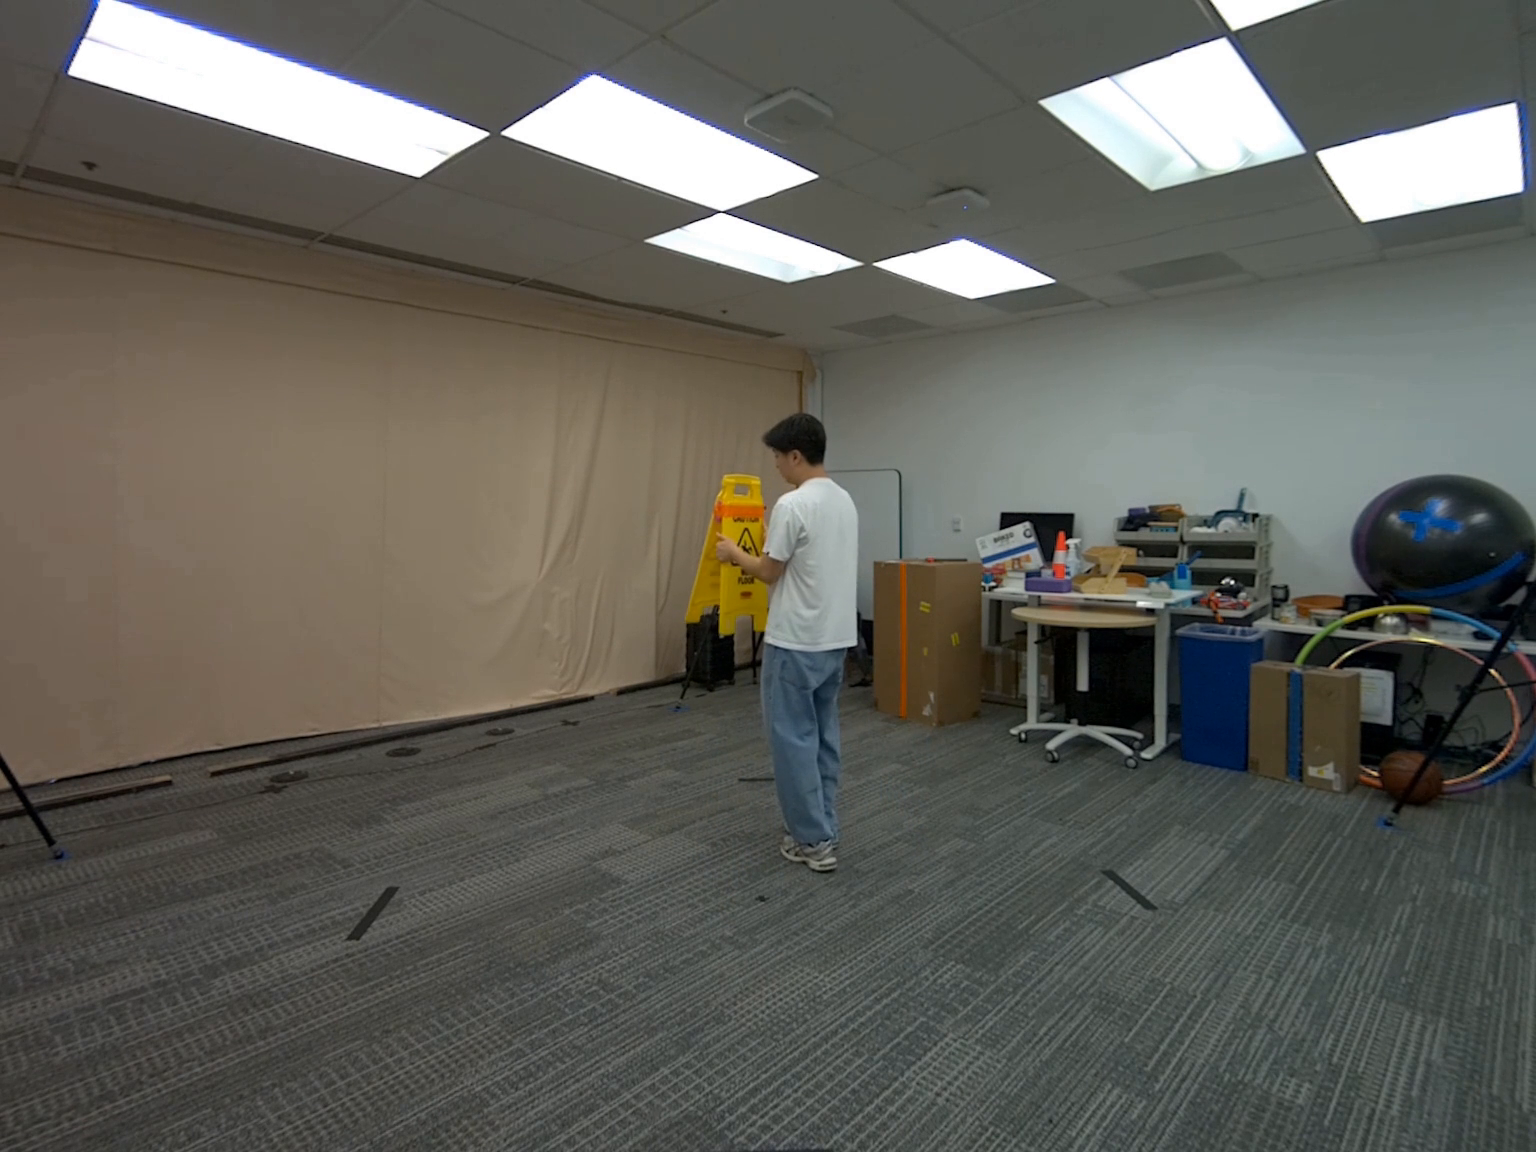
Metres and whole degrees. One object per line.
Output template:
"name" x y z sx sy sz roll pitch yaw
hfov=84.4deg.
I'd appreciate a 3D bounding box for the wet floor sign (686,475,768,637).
"wet floor sign" -0.141 -0.098 3.584 0.273 0.644 0.300 -1 9 -43
